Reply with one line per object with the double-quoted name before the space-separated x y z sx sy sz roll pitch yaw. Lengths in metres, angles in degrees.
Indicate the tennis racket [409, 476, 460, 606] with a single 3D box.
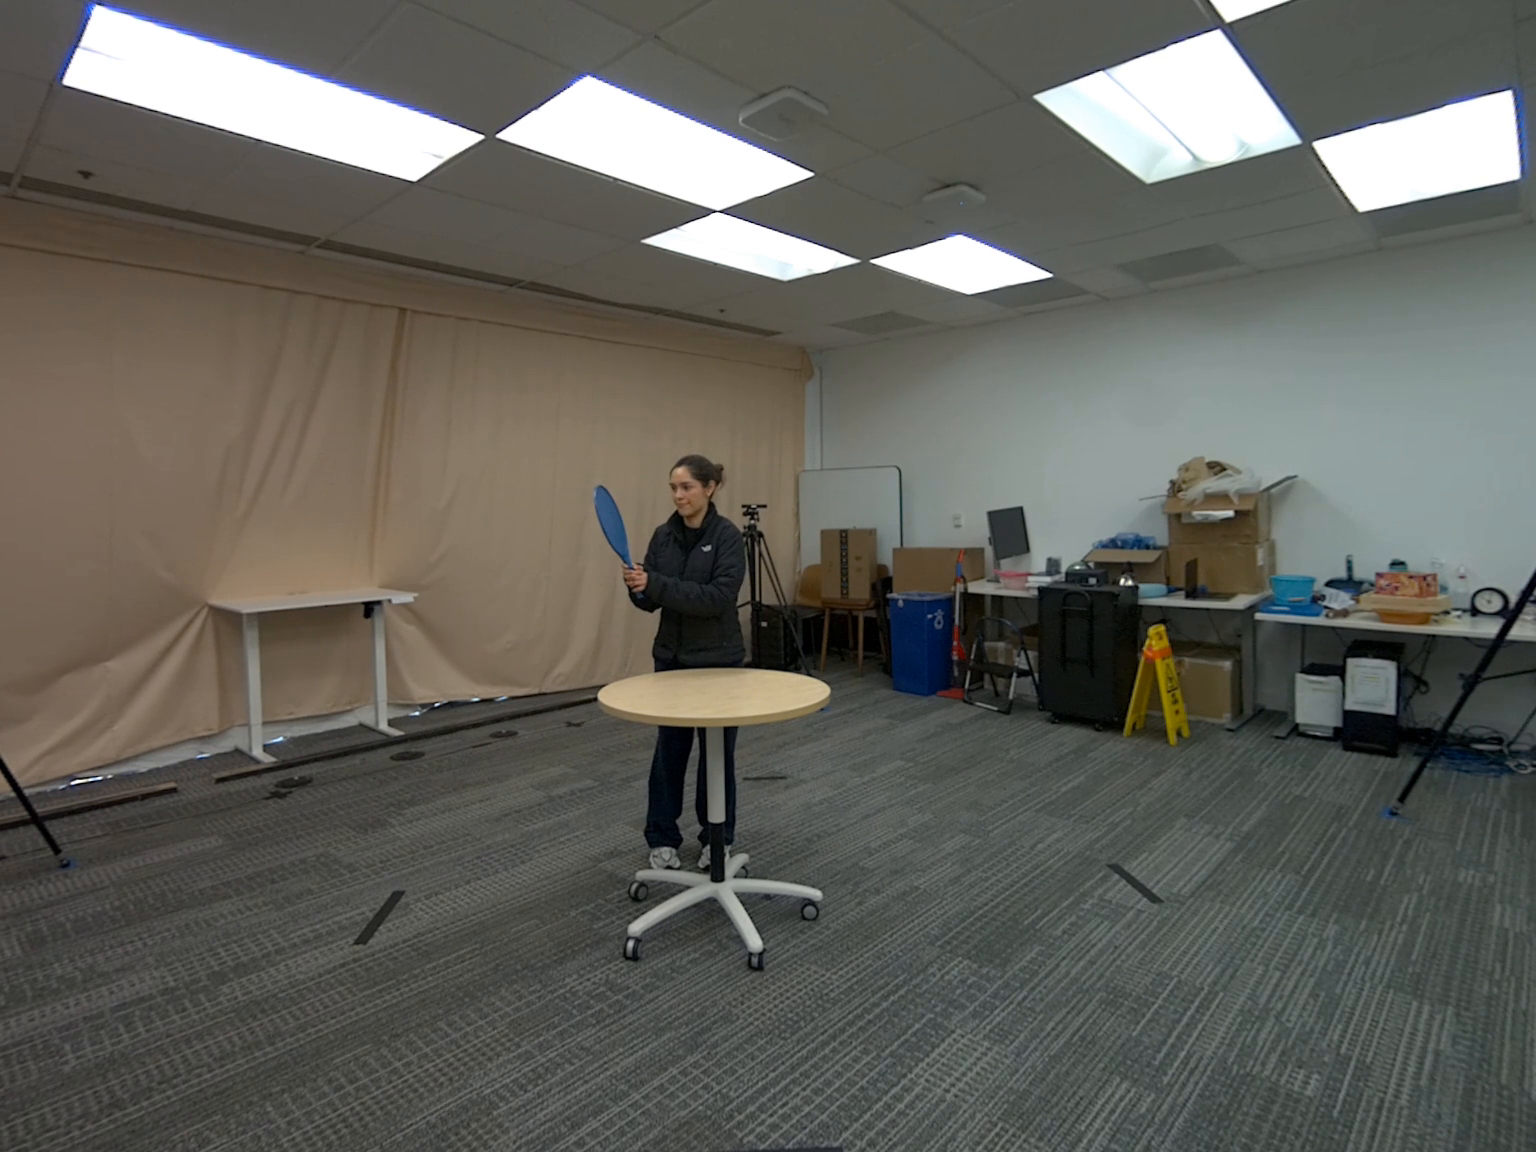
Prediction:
"tennis racket" -1.173 -0.130 2.983 0.032 0.431 0.215 -7 7 -2
